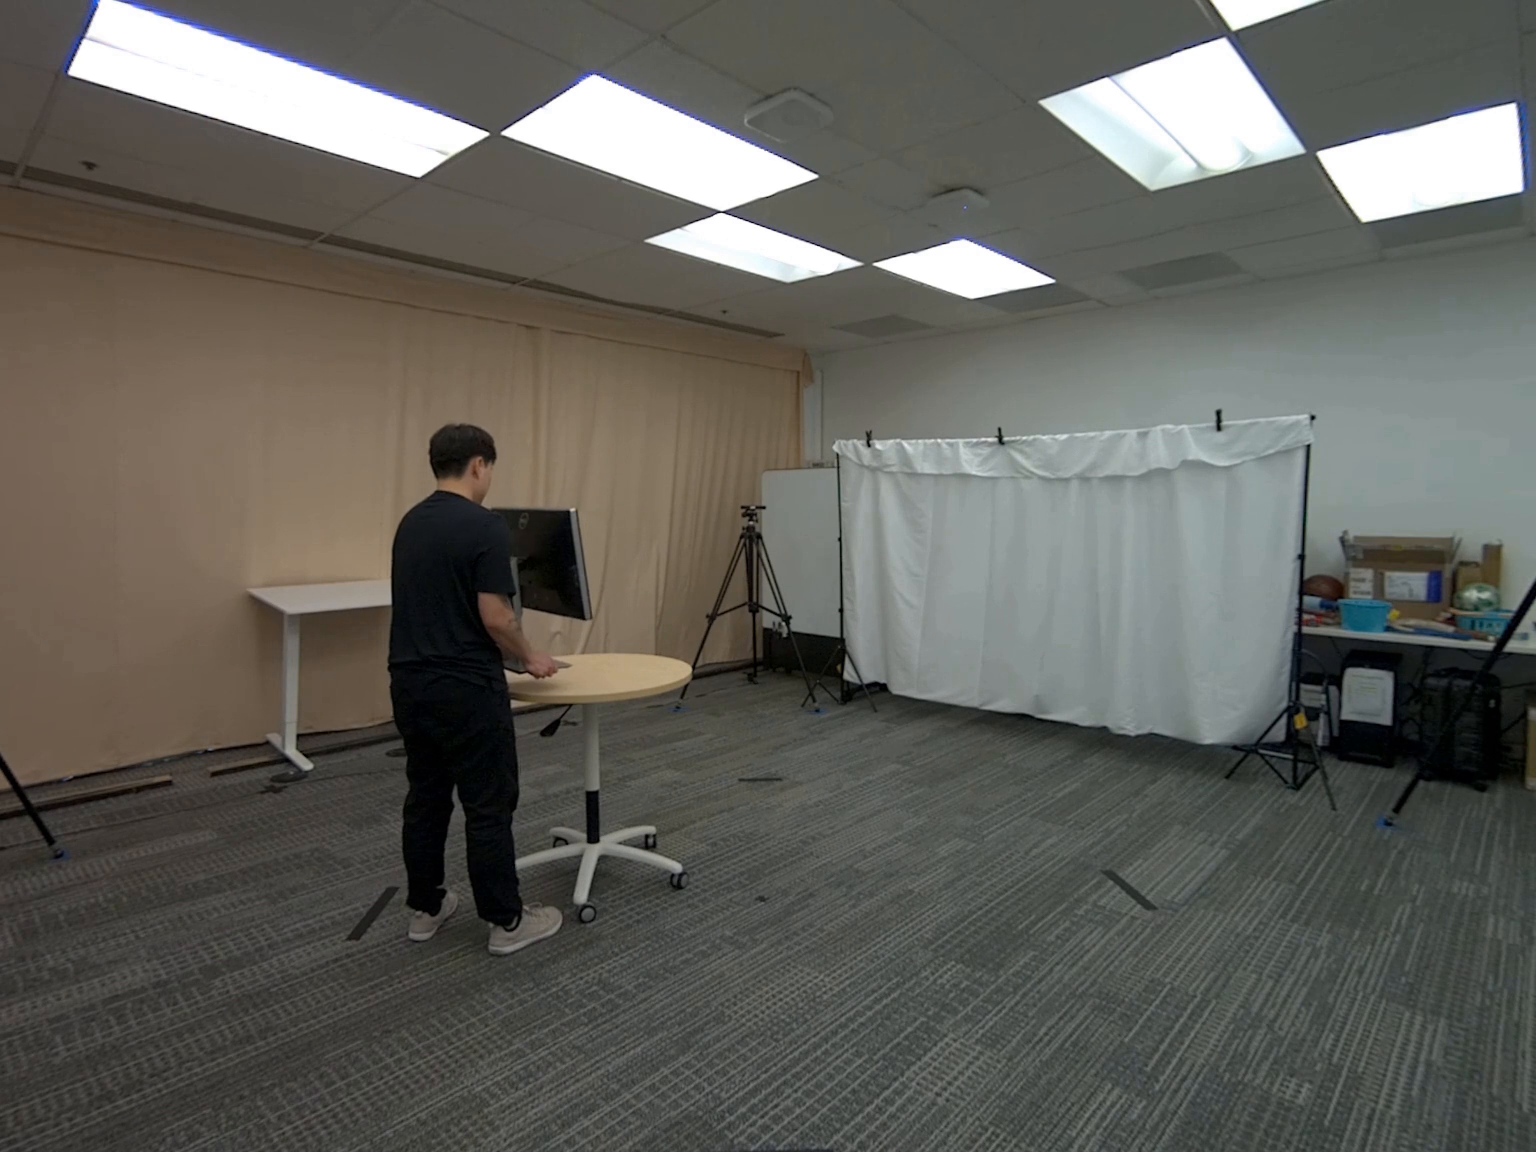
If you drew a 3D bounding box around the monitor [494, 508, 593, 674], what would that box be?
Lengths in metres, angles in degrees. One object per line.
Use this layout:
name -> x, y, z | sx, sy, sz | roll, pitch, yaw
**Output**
monitor -> -0.806, 0.037, 2.856 | 0.181, 0.522, 0.557 | 0, 3, -43
